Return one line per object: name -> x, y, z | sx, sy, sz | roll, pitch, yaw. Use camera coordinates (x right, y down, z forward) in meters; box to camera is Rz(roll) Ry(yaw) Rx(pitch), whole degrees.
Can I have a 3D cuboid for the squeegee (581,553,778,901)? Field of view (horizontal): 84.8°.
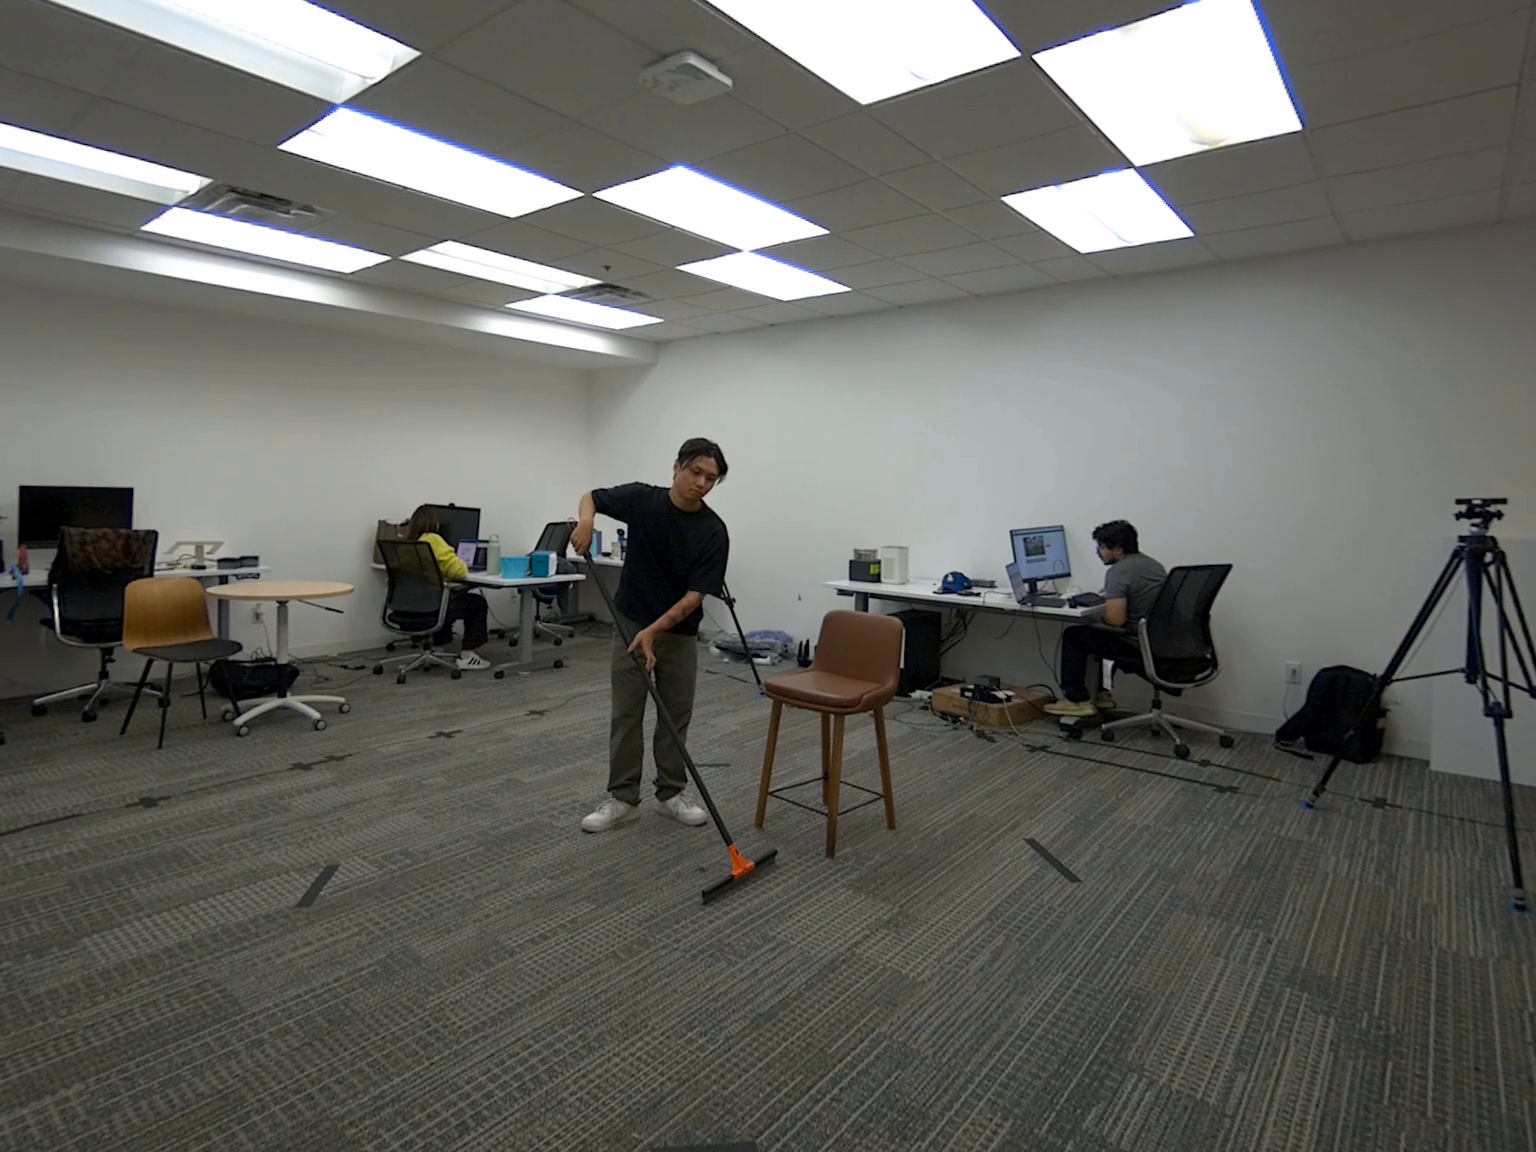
squeegee -> -0.458, 0.391, 3.234 | 0.053, 1.575, 0.425 | -40, -20, 27
